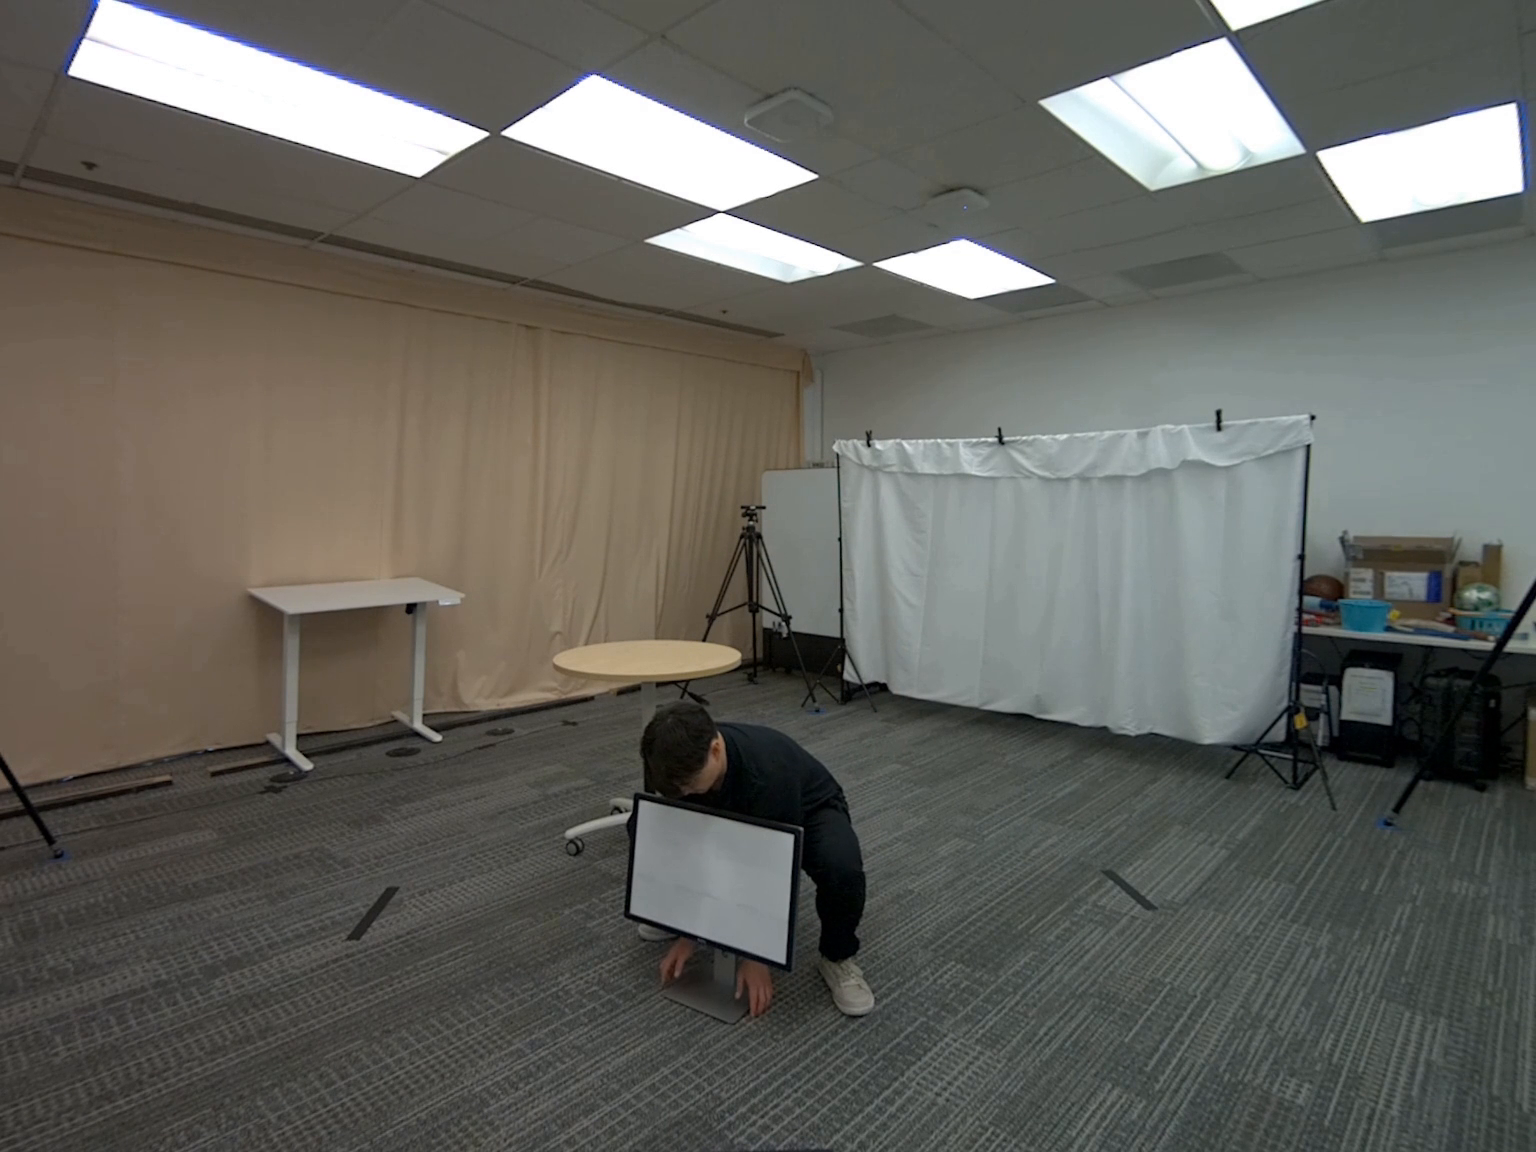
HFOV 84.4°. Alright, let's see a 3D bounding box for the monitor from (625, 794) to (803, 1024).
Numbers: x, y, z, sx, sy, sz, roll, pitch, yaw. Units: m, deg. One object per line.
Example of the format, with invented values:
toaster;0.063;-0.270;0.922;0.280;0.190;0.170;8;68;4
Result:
monitor;-0.149;0.926;2.390;0.554;0.520;0.182;1;7;30
